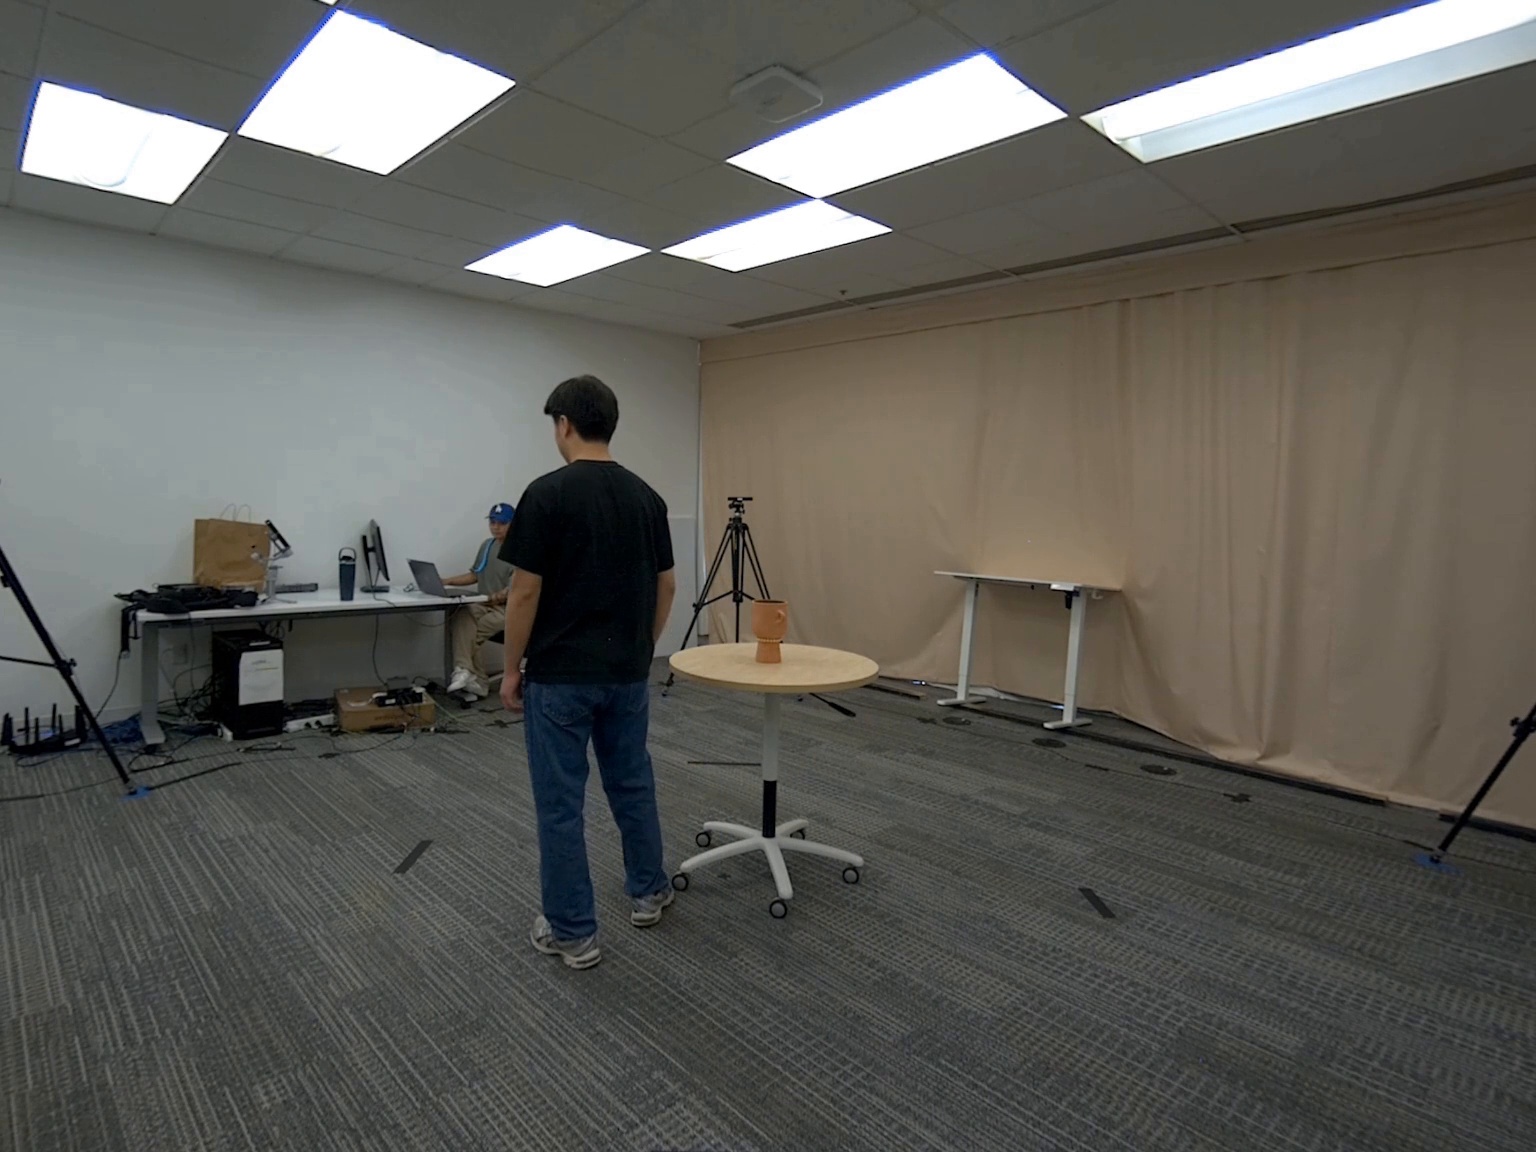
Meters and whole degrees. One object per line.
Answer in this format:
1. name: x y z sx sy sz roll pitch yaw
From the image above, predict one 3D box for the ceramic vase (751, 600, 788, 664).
1. ceramic vase: -0.005 0.208 3.097 0.136 0.219 0.158 1 3 9
